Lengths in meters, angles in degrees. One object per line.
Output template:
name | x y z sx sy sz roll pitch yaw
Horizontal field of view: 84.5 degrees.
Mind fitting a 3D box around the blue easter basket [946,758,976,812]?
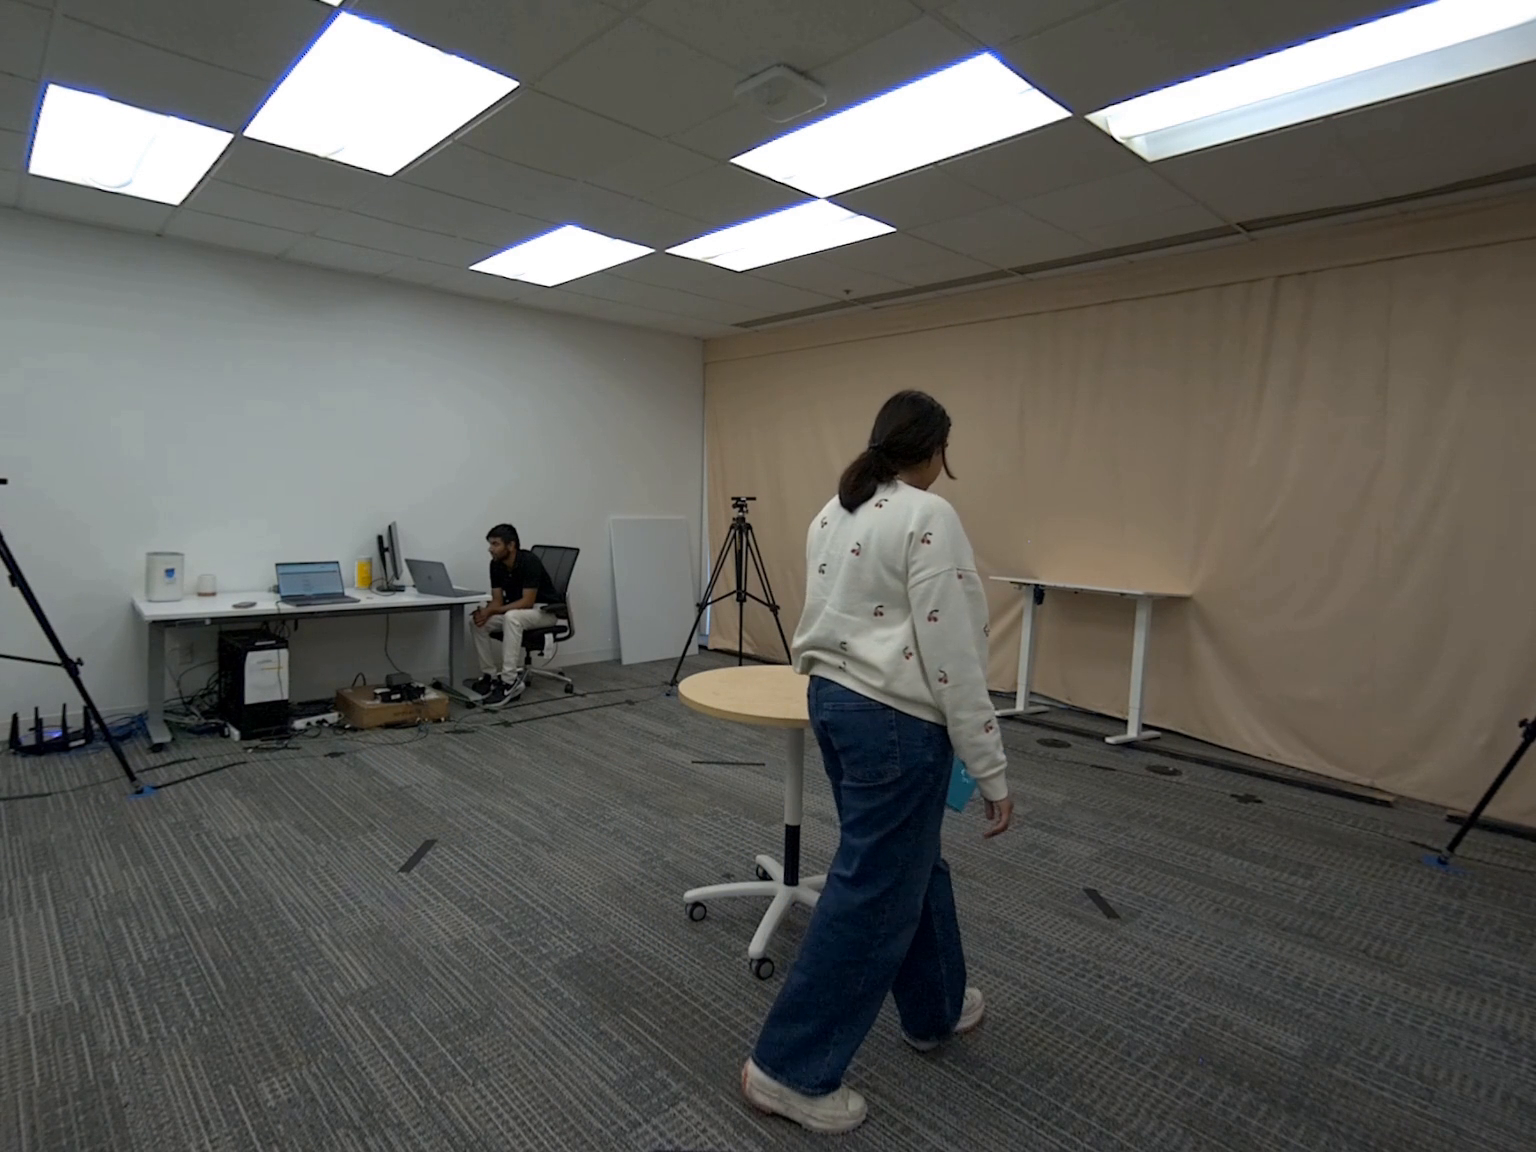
blue easter basket | 0.477 0.538 2.277 0.245 0.156 0.242 26 -10 4
